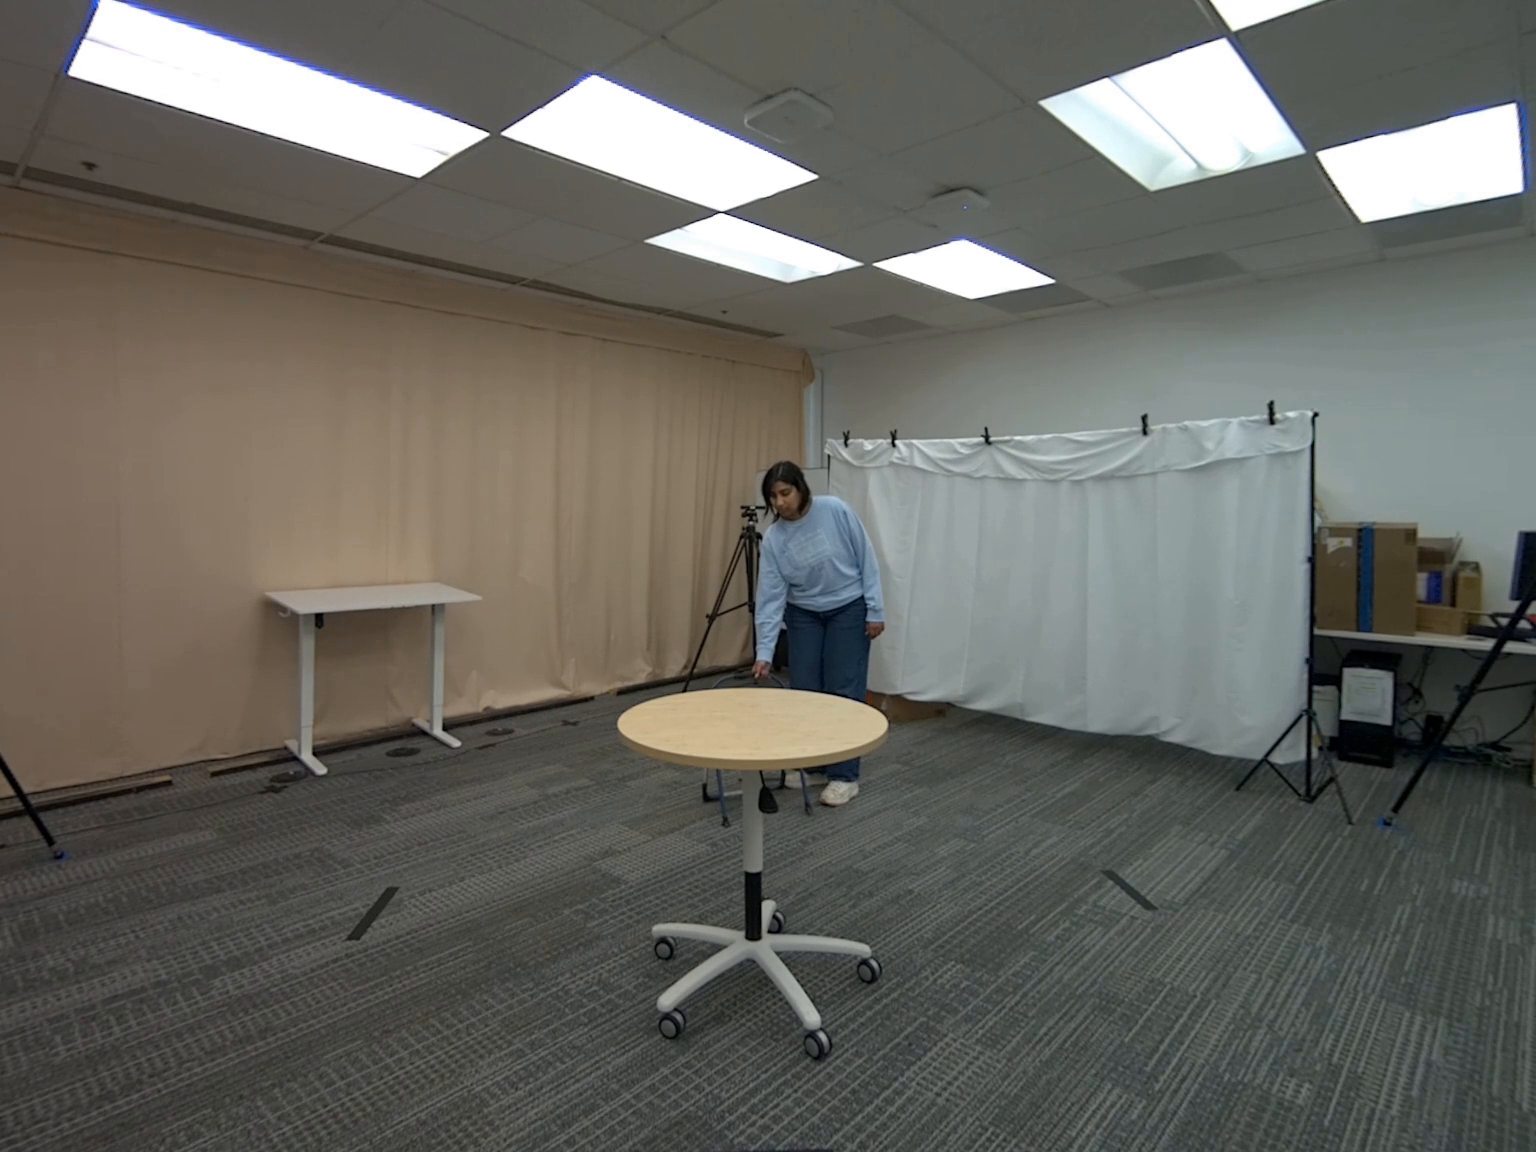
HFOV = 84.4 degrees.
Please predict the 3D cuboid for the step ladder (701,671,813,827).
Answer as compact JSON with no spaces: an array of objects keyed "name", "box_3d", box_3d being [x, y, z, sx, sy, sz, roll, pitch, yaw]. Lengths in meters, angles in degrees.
[{"name":"step ladder","box_3d":[-0.067,0.752,3.864,0.422,0.604,0.357,-4,4,-20]}]
